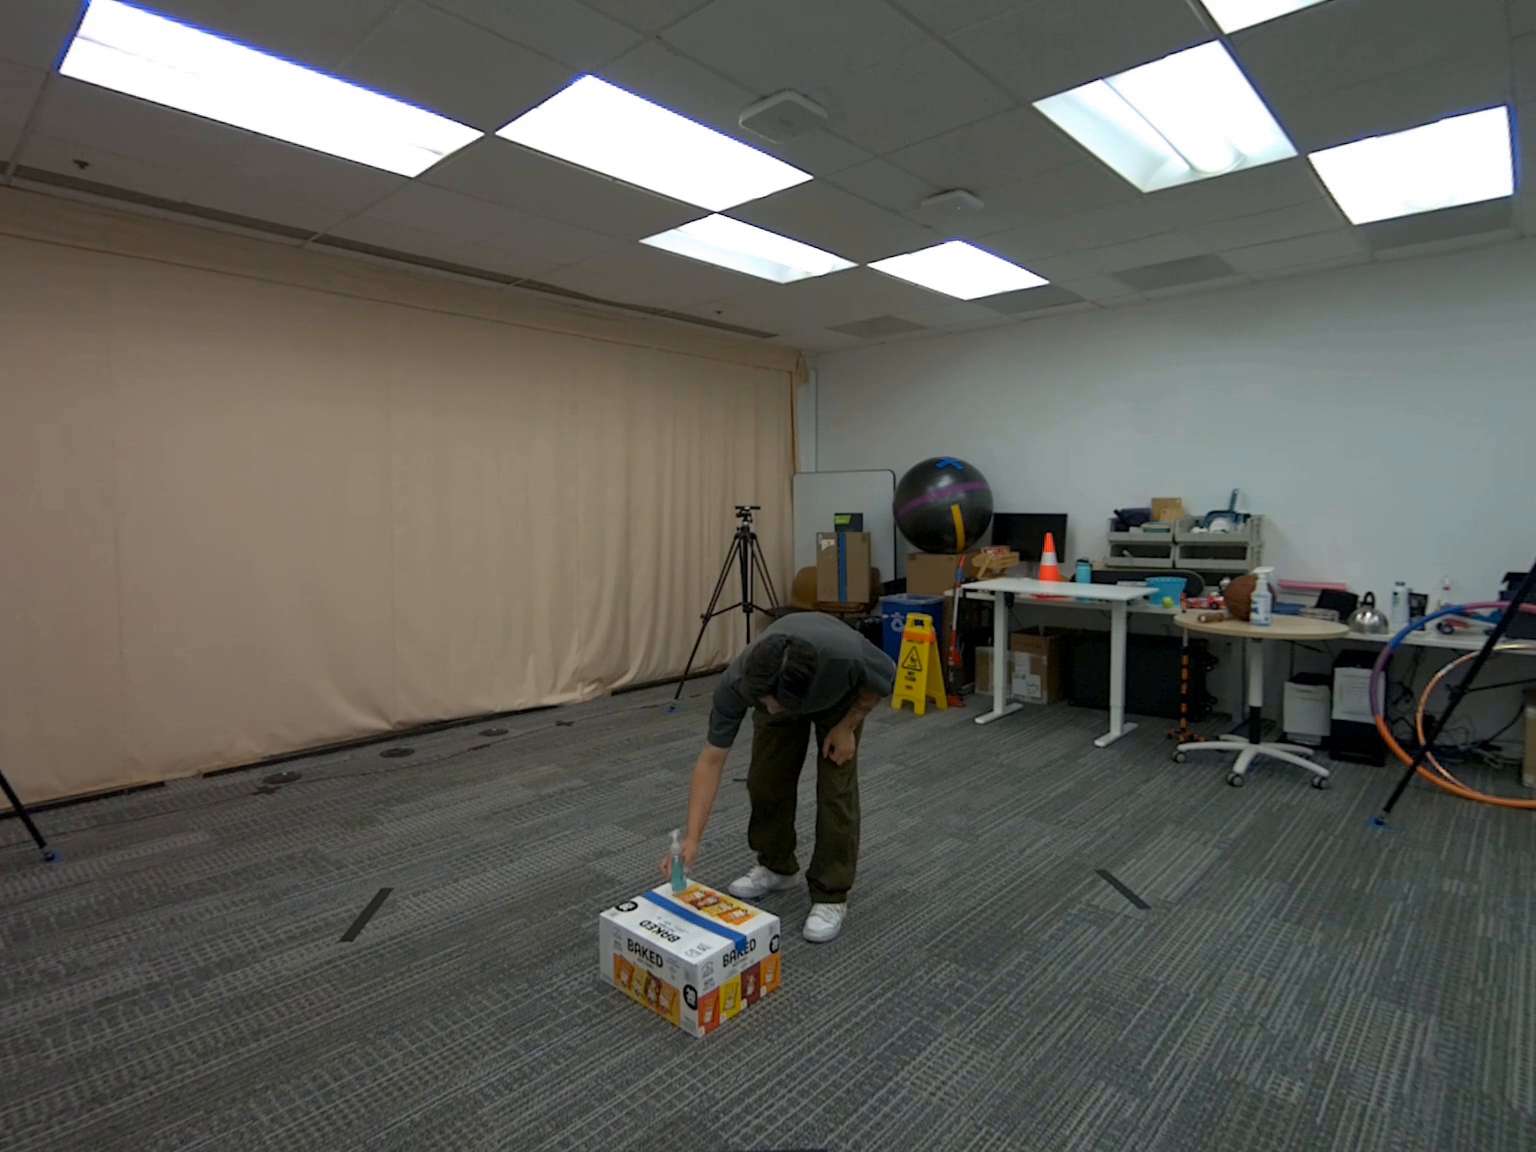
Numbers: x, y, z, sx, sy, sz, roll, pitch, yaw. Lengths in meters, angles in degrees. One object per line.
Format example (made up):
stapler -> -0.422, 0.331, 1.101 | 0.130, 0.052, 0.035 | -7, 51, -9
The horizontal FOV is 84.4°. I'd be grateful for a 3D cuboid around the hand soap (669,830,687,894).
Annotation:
hand soap -> -0.258, 0.826, 2.445 | 0.043, 0.167, 0.085 | -7, 9, 1
